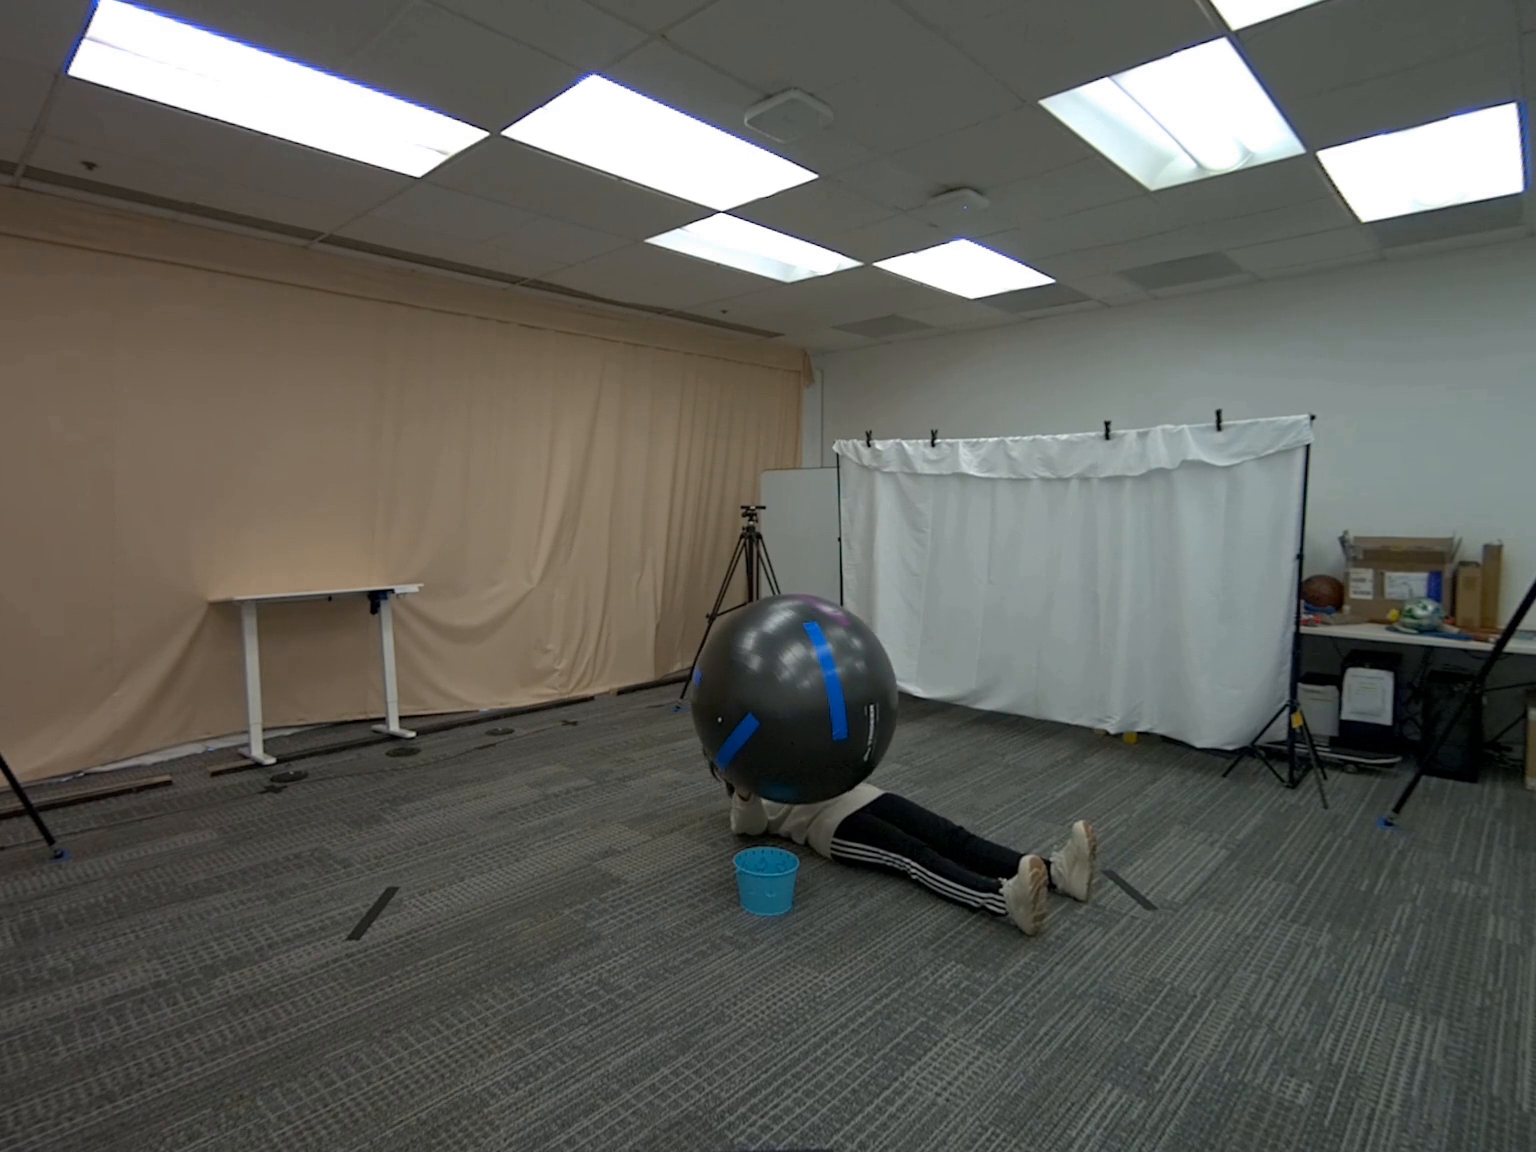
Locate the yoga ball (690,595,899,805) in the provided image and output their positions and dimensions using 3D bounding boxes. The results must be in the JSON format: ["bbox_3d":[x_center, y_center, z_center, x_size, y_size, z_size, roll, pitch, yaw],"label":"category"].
[{"bbox_3d":[0.098,0.450,3.102,0.757,0.756,0.760,0,4,-2],"label":"yoga ball"}]
